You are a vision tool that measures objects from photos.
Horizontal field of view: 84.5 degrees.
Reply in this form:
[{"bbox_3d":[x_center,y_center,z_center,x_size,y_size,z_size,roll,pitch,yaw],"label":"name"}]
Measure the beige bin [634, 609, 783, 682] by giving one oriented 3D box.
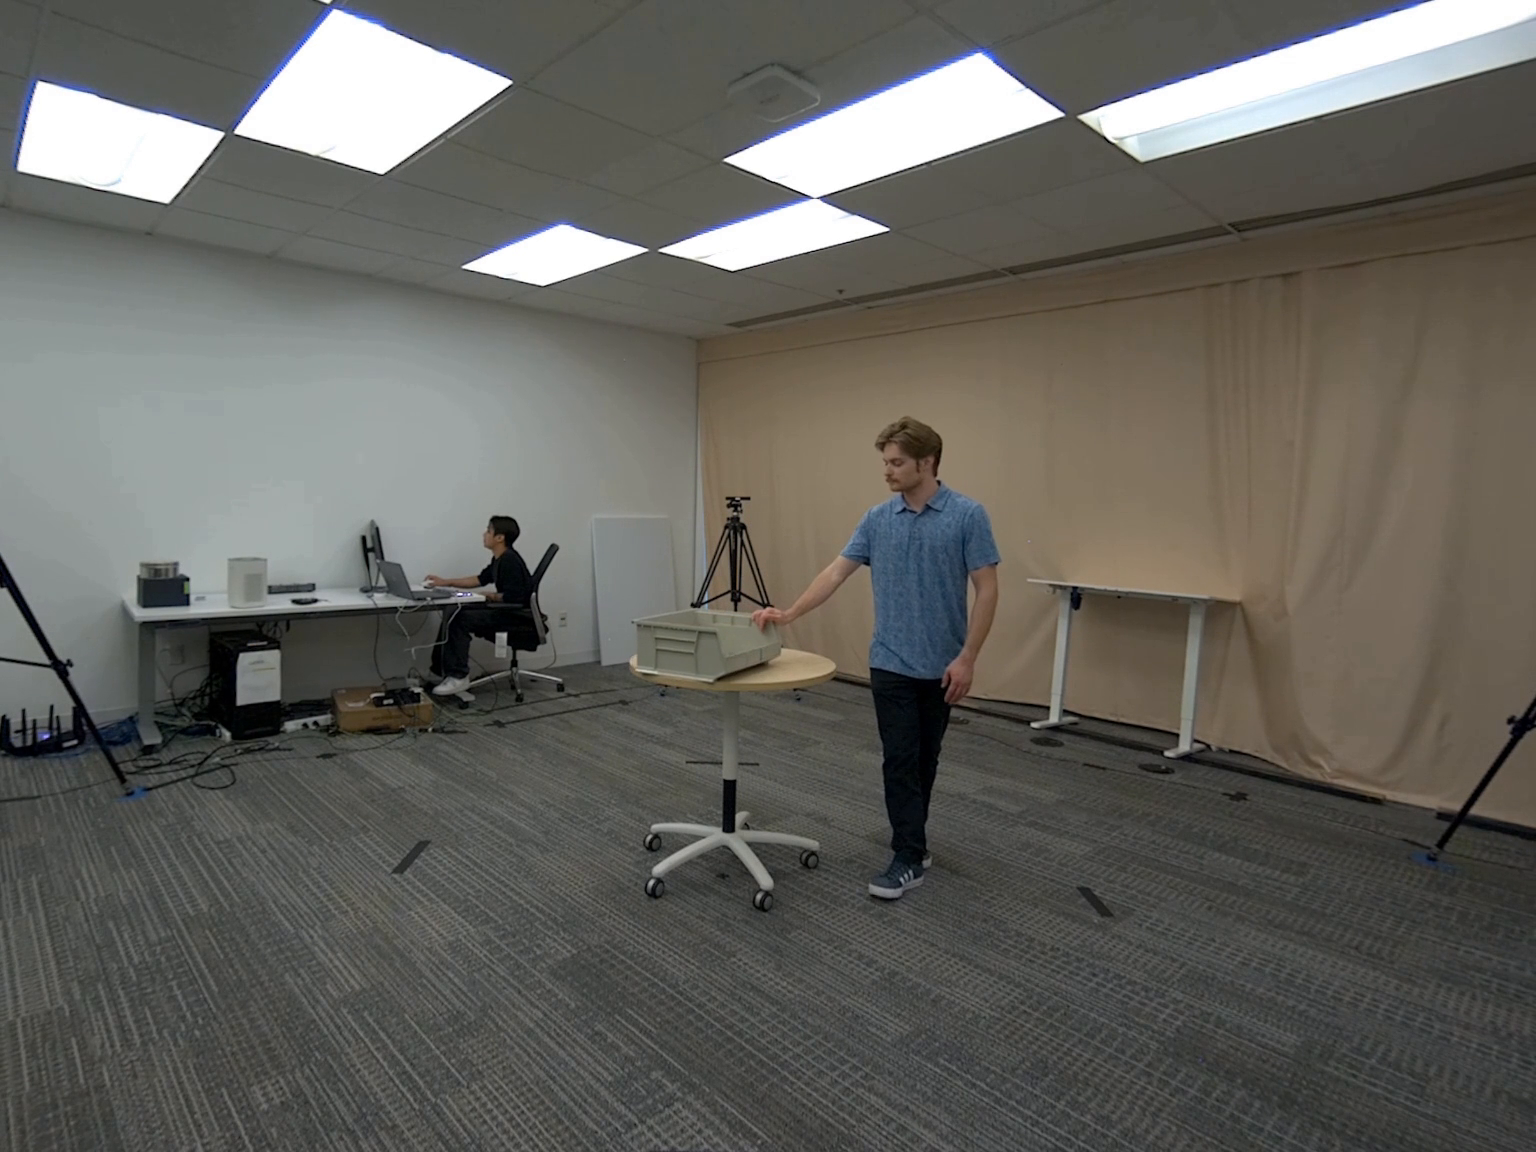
[{"bbox_3d":[-0.215,0.245,2.987,0.385,0.188,0.415,3,5,28],"label":"beige bin"}]
